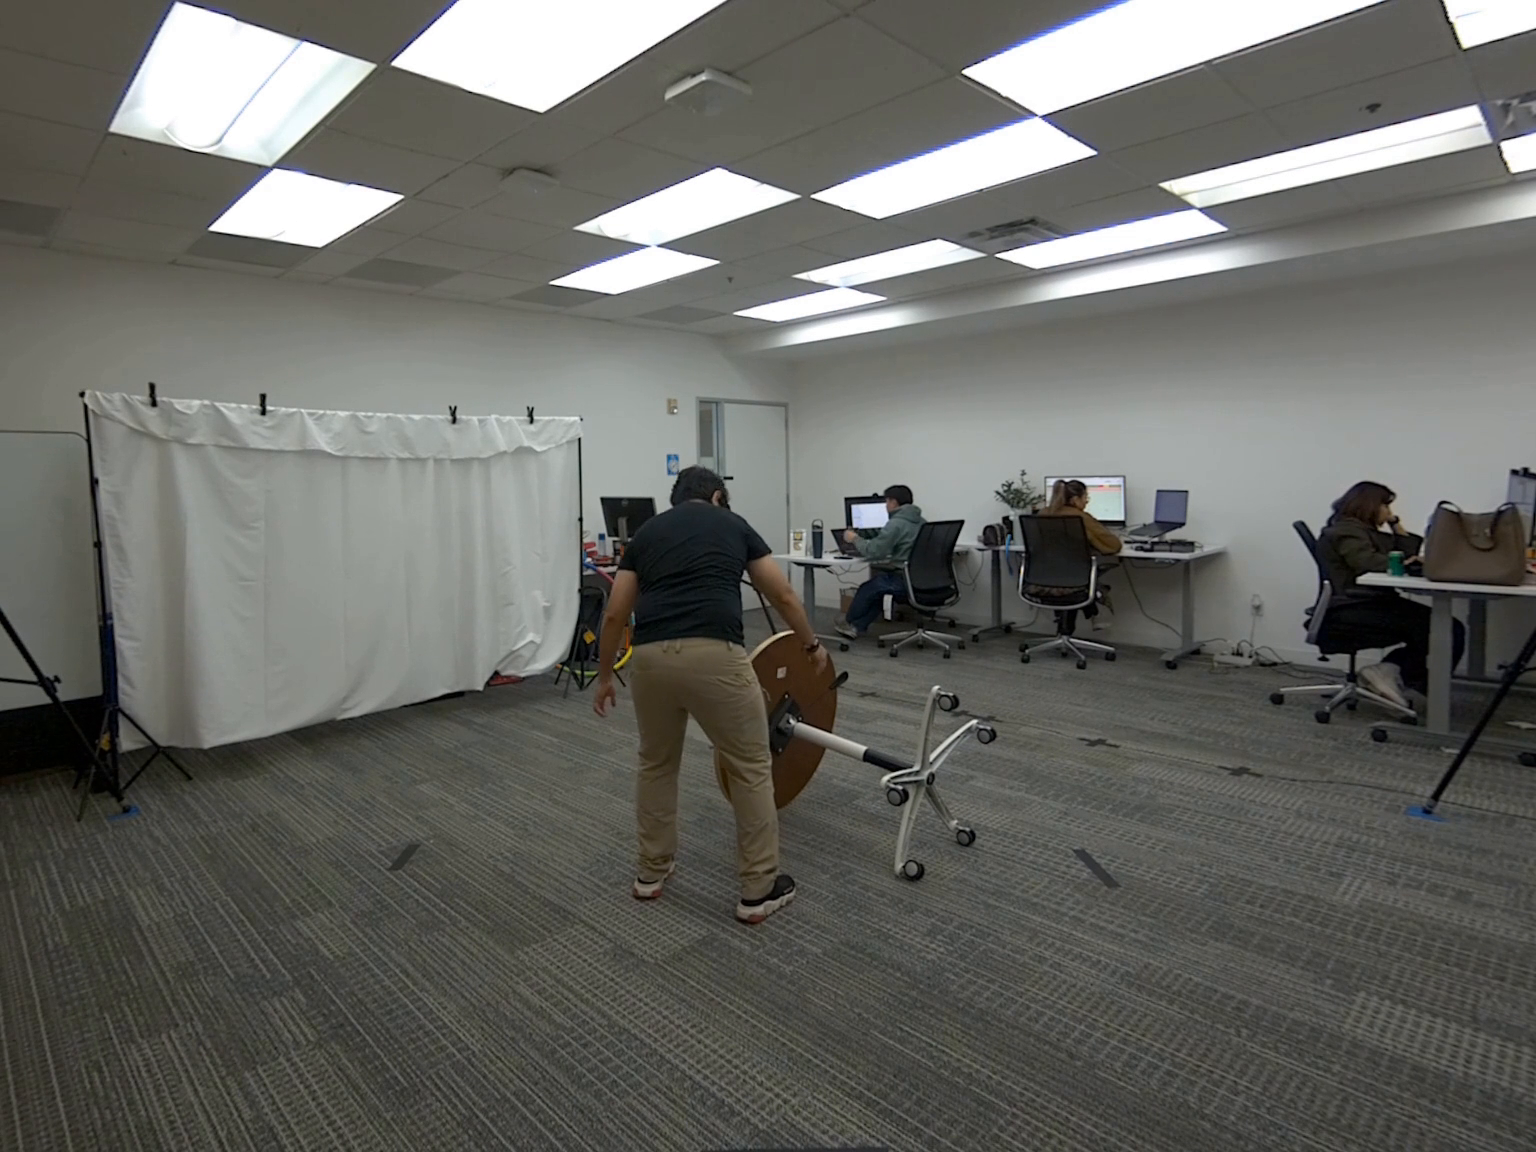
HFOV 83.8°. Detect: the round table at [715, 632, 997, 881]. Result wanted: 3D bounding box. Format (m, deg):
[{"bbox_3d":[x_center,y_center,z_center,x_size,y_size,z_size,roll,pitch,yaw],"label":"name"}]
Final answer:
[{"bbox_3d":[0.349,0.661,3.271,0.813,0.779,0.765,11,12,40],"label":"round table"}]
